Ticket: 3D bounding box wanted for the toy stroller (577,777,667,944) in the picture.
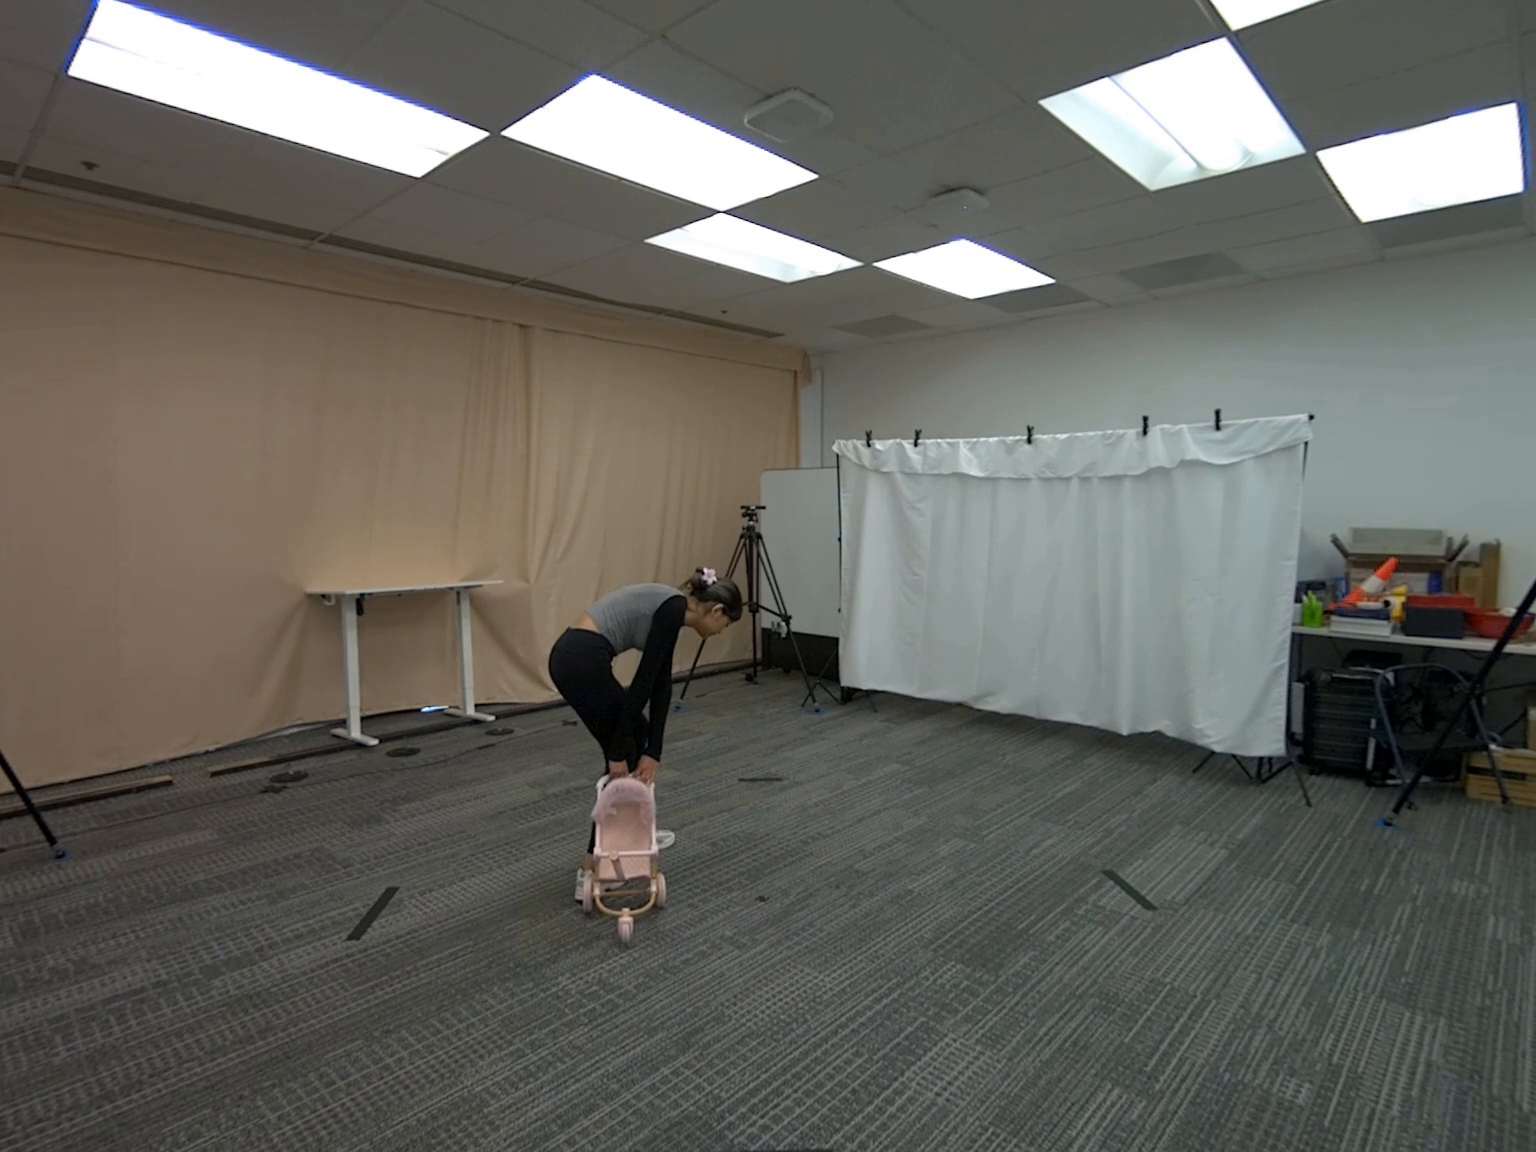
[{"bbox_3d":[-0.484,0.929,2.854,0.280,0.541,0.340,-1,-16,-7],"label":"toy stroller"}]
